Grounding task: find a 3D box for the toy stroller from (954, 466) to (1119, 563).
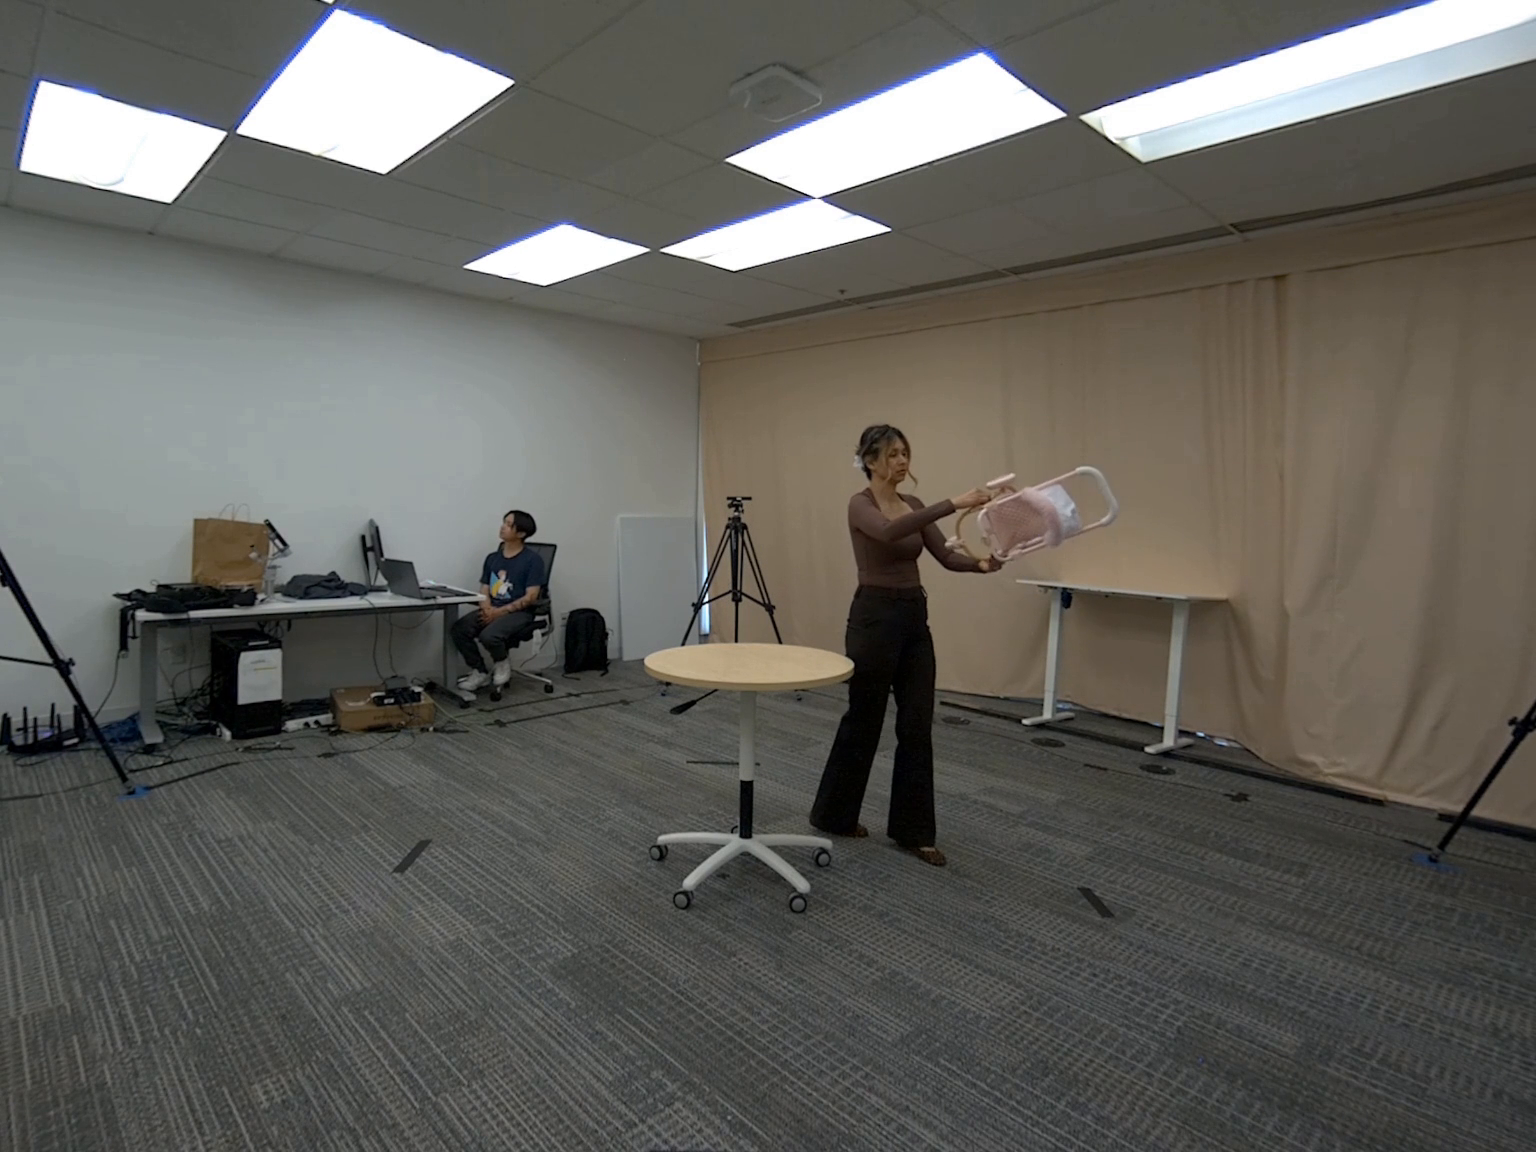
[{"bbox_3d":[0.866,-0.192,2.891,0.339,0.280,0.541,-25,6,-18],"label":"toy stroller"}]
